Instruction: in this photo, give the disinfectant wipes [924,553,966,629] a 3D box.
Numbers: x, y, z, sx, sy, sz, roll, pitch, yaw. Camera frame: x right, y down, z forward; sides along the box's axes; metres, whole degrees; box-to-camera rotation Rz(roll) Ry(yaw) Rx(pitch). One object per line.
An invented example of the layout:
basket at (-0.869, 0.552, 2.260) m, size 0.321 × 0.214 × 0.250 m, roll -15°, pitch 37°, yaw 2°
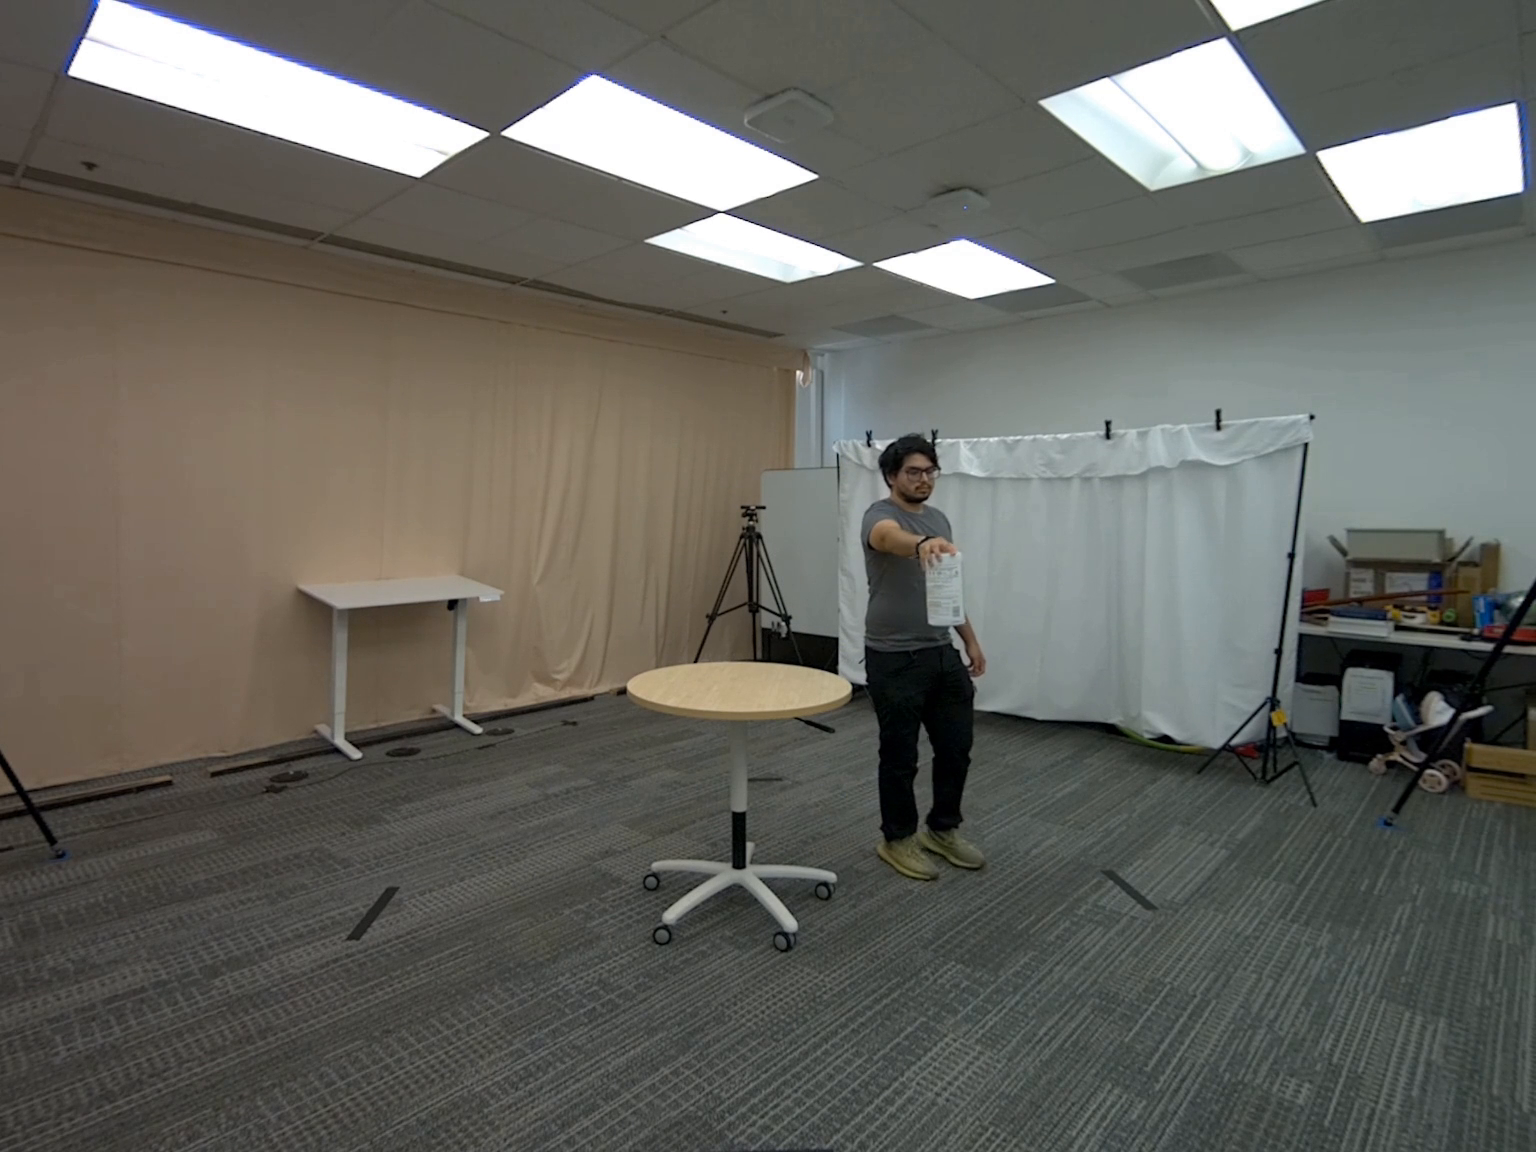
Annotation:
disinfectant wipes at (0.534, 0.039, 2.517) m, size 0.118 × 0.217 × 0.118 m, roll -4°, pitch 4°, yaw -2°
